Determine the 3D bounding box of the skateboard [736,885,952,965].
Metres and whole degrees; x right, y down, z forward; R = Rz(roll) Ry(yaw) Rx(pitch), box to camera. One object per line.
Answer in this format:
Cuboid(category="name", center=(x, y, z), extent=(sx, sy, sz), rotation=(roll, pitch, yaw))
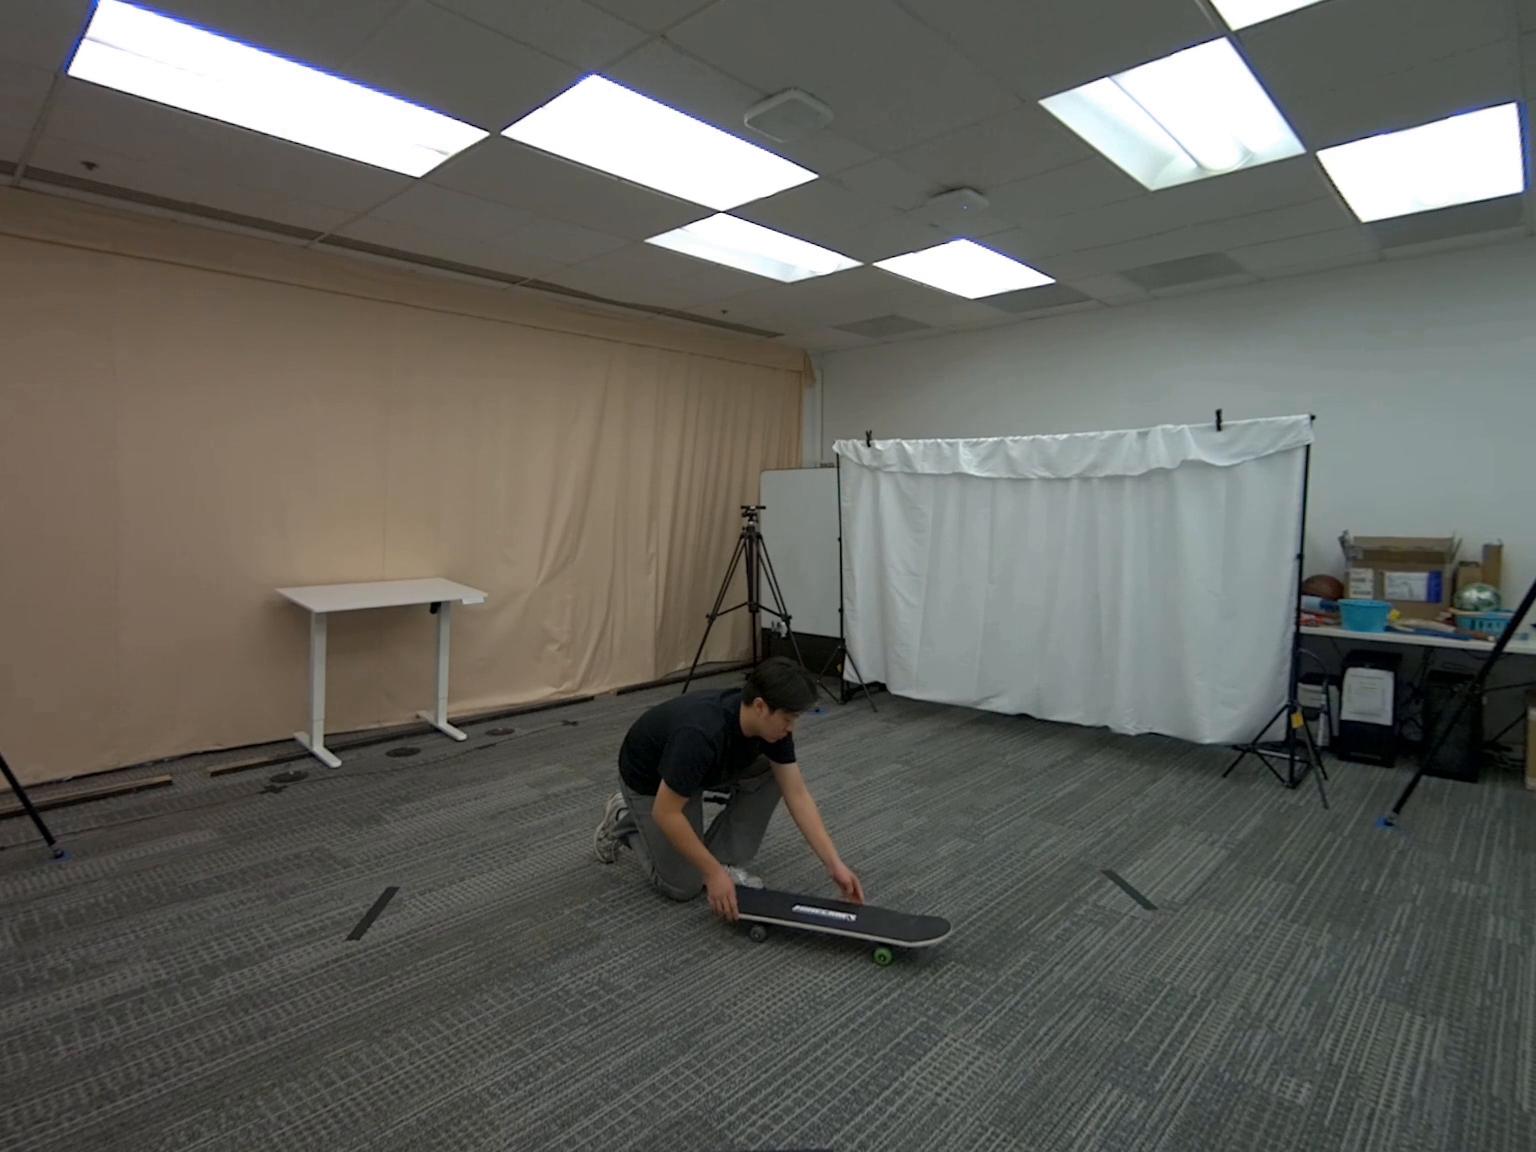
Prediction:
Cuboid(category="skateboard", center=(0.184, 1.105, 2.695), extent=(0.801, 0.110, 0.190), rotation=(1, 6, 19))
